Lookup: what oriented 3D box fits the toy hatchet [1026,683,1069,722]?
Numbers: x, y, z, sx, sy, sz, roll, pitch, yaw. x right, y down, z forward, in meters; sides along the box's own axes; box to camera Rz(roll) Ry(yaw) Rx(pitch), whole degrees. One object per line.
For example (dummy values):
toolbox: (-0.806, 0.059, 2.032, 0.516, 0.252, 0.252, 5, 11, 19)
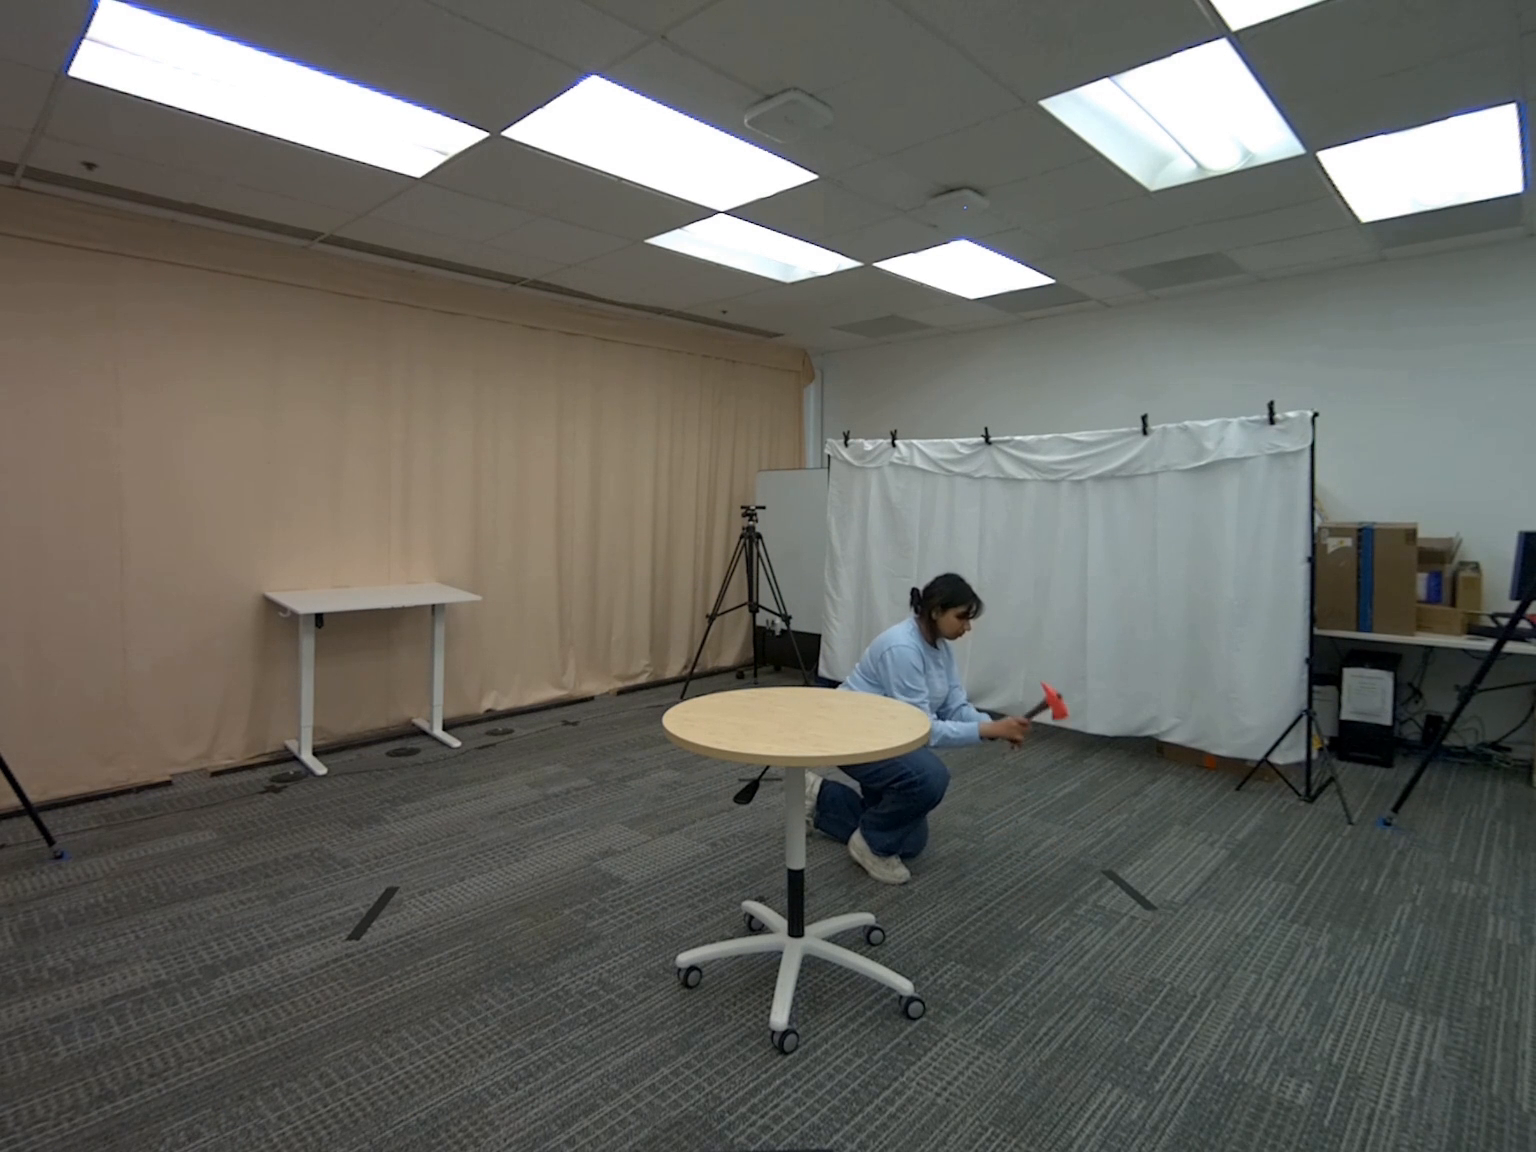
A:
toy hatchet: (0.930, 0.504, 2.894, 0.029, 0.269, 0.135, -7, 42, -44)
